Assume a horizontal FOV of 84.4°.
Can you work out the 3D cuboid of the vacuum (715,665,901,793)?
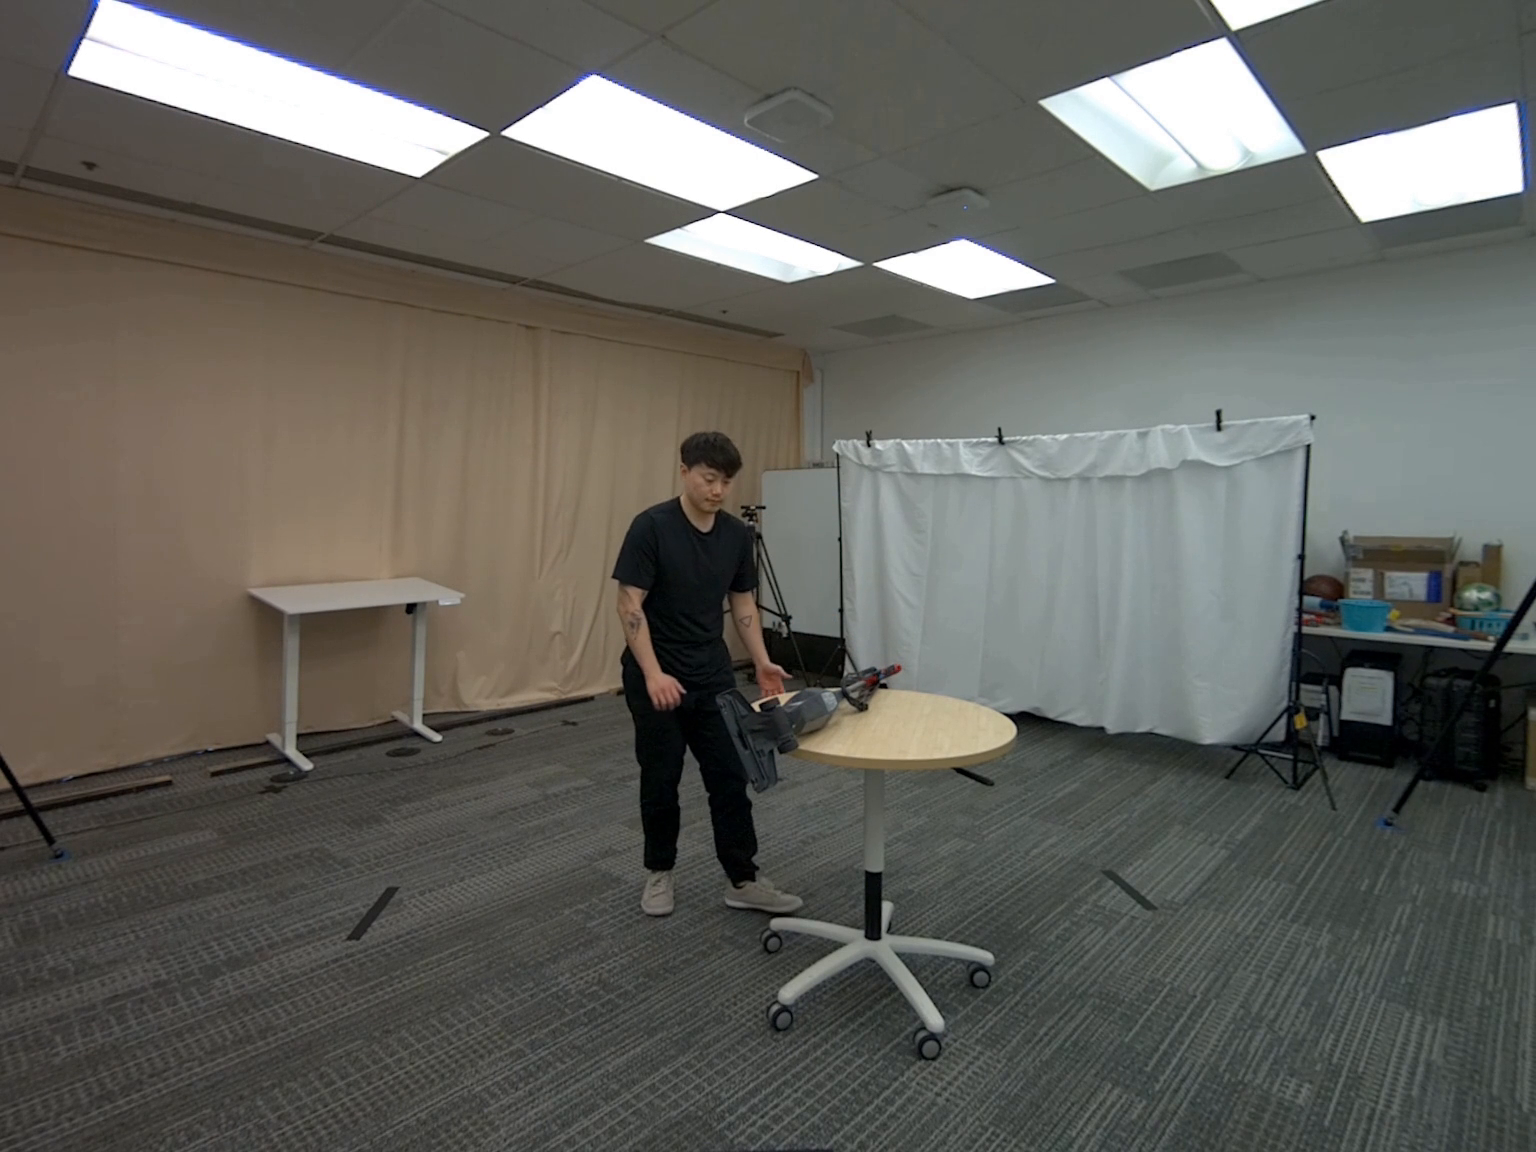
[{"bbox_3d":[0.210,0.371,2.498,0.146,0.256,1.023,-33,-11,24],"label":"vacuum"}]
